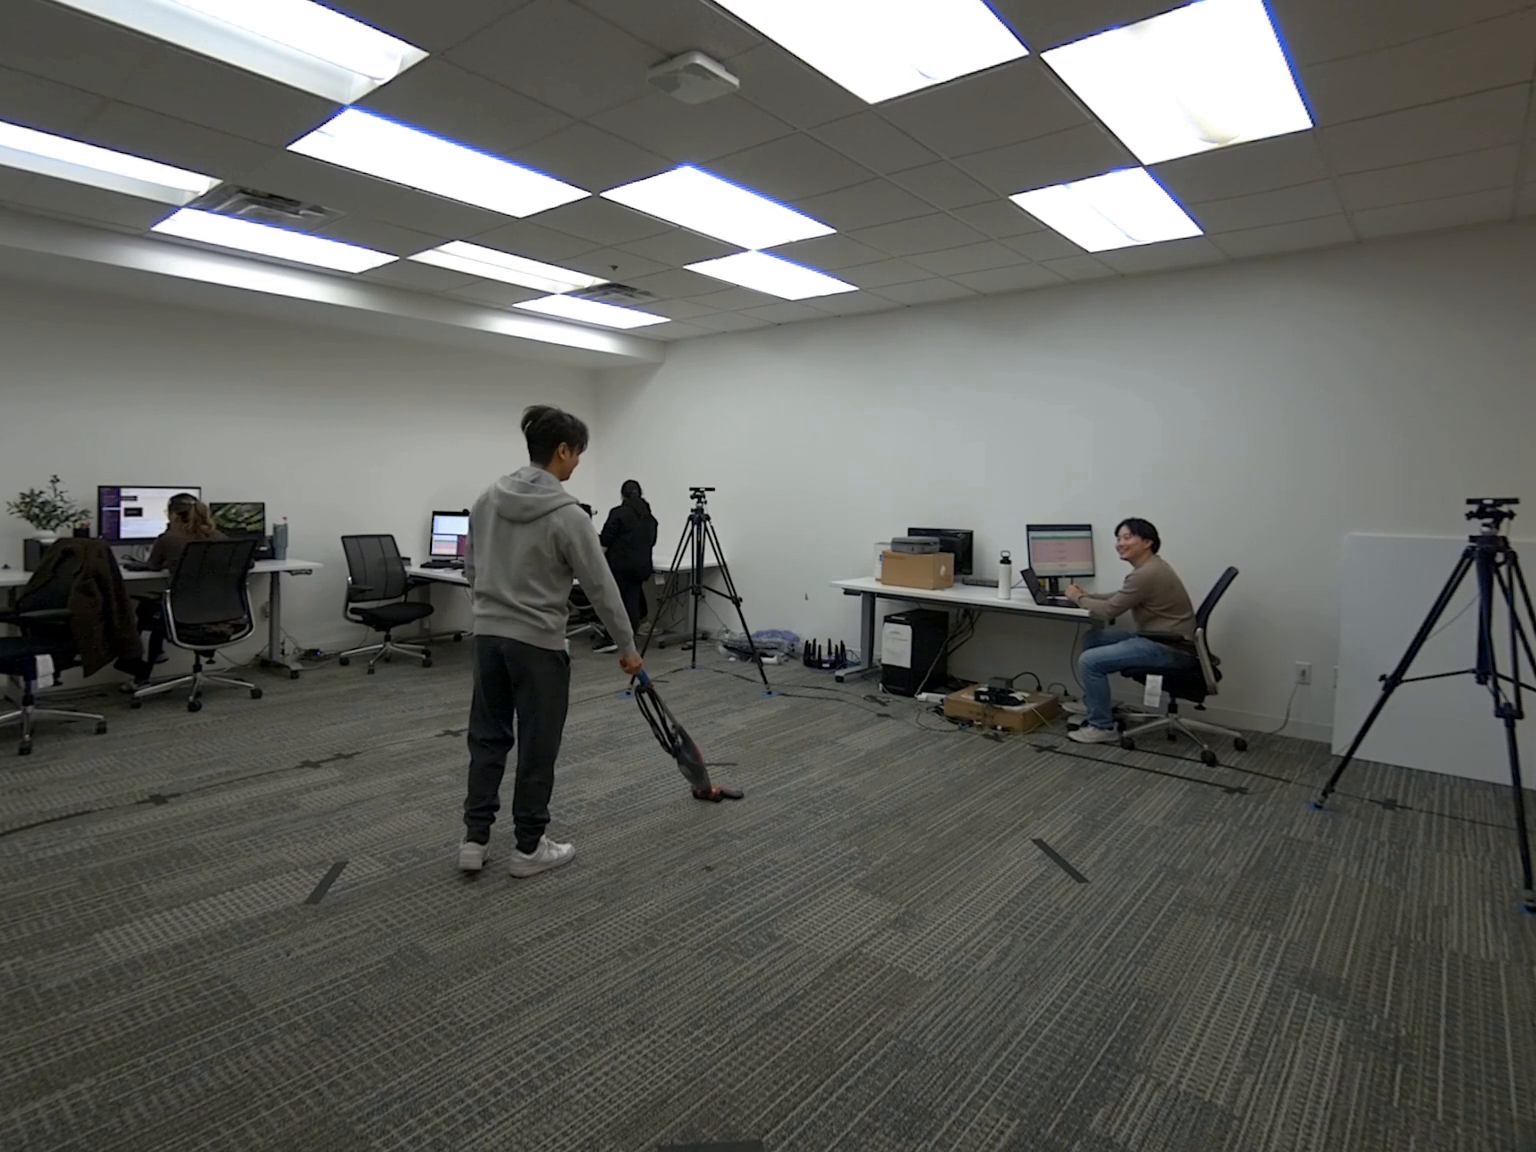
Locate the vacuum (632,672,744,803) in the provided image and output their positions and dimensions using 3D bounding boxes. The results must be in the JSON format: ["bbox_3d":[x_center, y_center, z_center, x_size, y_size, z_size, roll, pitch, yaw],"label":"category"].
[{"bbox_3d":[-0.409,0.658,3.499,0.259,0.146,1.009,3,-40,26],"label":"vacuum"}]
